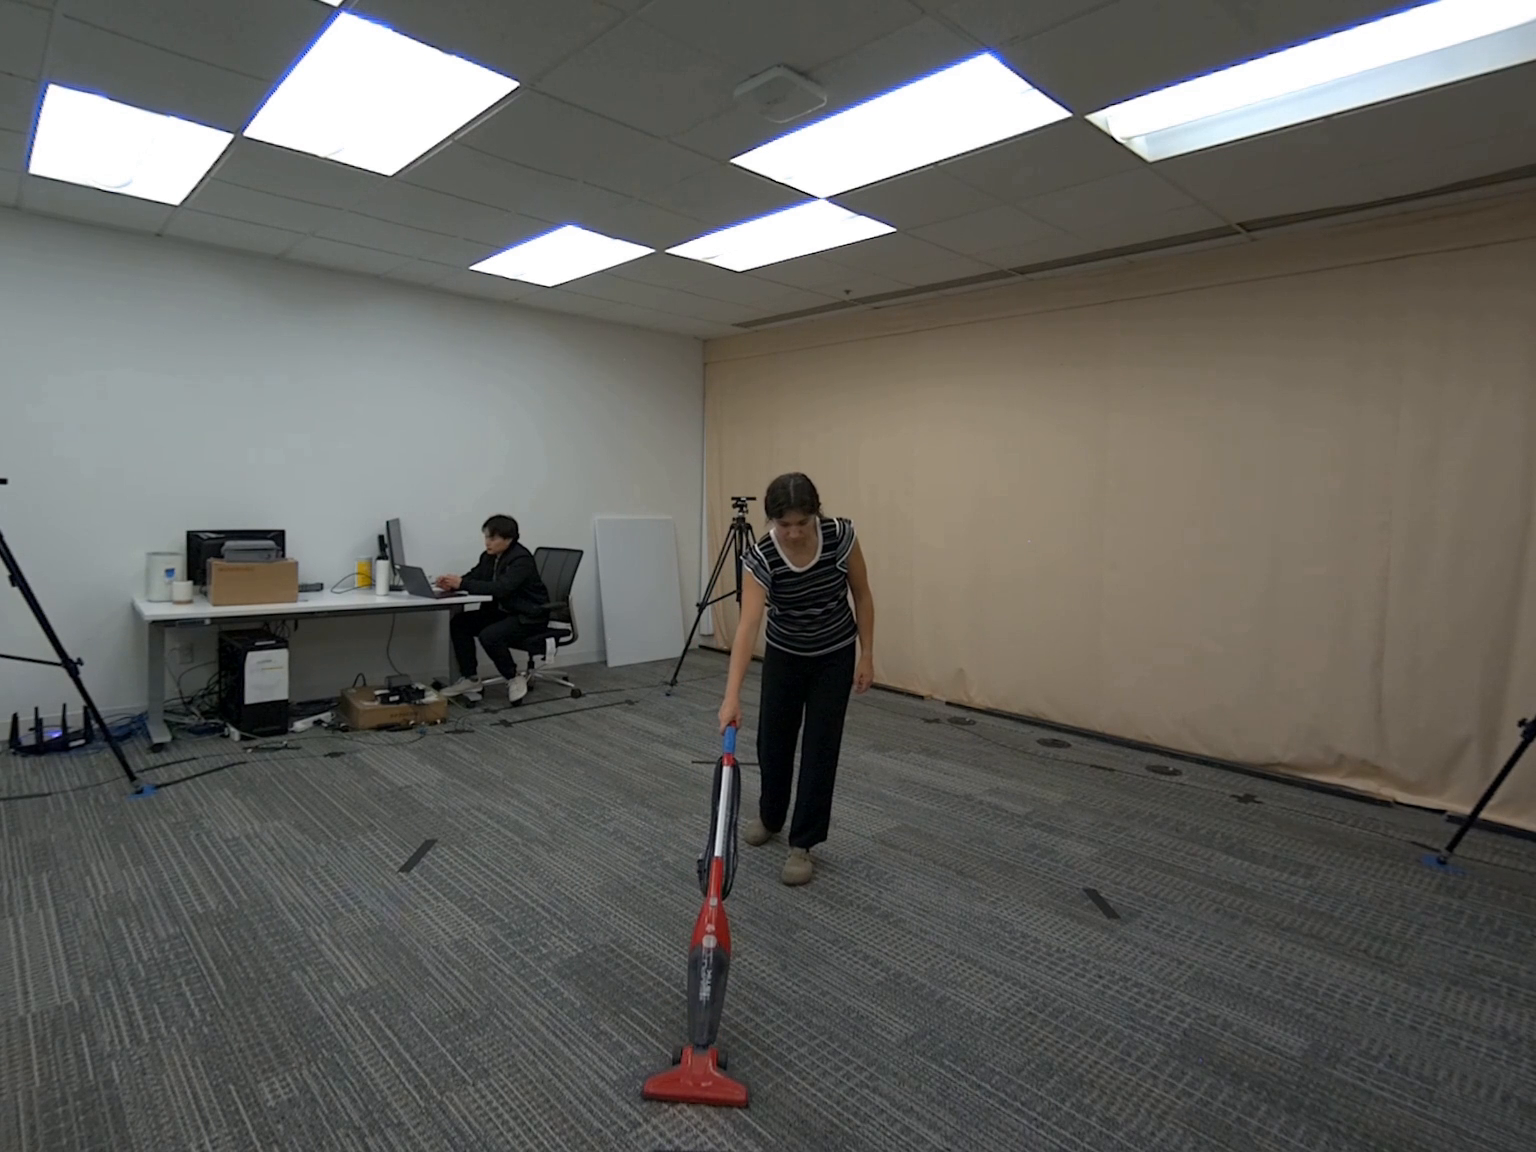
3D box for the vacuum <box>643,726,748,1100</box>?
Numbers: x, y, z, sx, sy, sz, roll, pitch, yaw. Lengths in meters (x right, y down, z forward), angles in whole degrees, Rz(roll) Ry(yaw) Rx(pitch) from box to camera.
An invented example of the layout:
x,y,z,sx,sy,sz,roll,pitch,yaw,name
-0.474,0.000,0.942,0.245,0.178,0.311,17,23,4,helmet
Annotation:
x,y,z,sx,sy,sz,roll,pitch,yaw,name
-0.144,0.823,2.394,0.254,0.140,1.070,-1,43,6,vacuum
